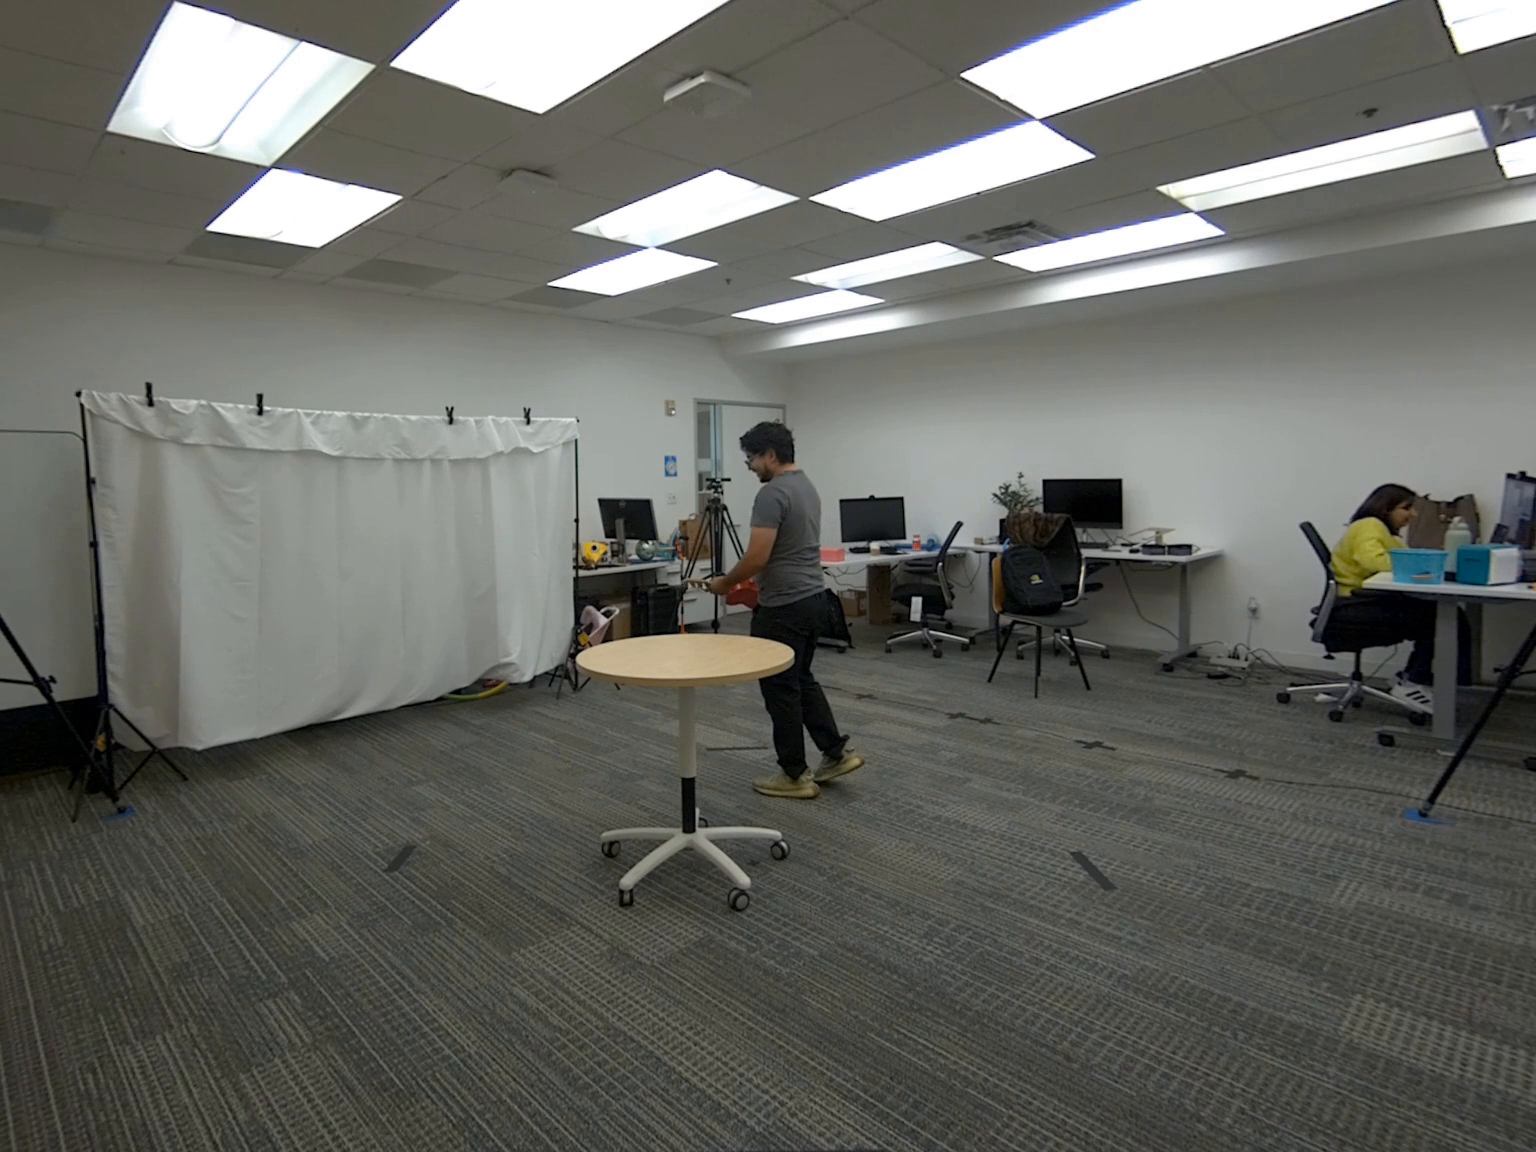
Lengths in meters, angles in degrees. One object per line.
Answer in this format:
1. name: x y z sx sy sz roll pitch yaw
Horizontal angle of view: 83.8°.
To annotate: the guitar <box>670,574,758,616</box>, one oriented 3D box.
1. guitar: -0.177 0.076 3.868 0.486 0.073 0.191 -2 -36 -29
